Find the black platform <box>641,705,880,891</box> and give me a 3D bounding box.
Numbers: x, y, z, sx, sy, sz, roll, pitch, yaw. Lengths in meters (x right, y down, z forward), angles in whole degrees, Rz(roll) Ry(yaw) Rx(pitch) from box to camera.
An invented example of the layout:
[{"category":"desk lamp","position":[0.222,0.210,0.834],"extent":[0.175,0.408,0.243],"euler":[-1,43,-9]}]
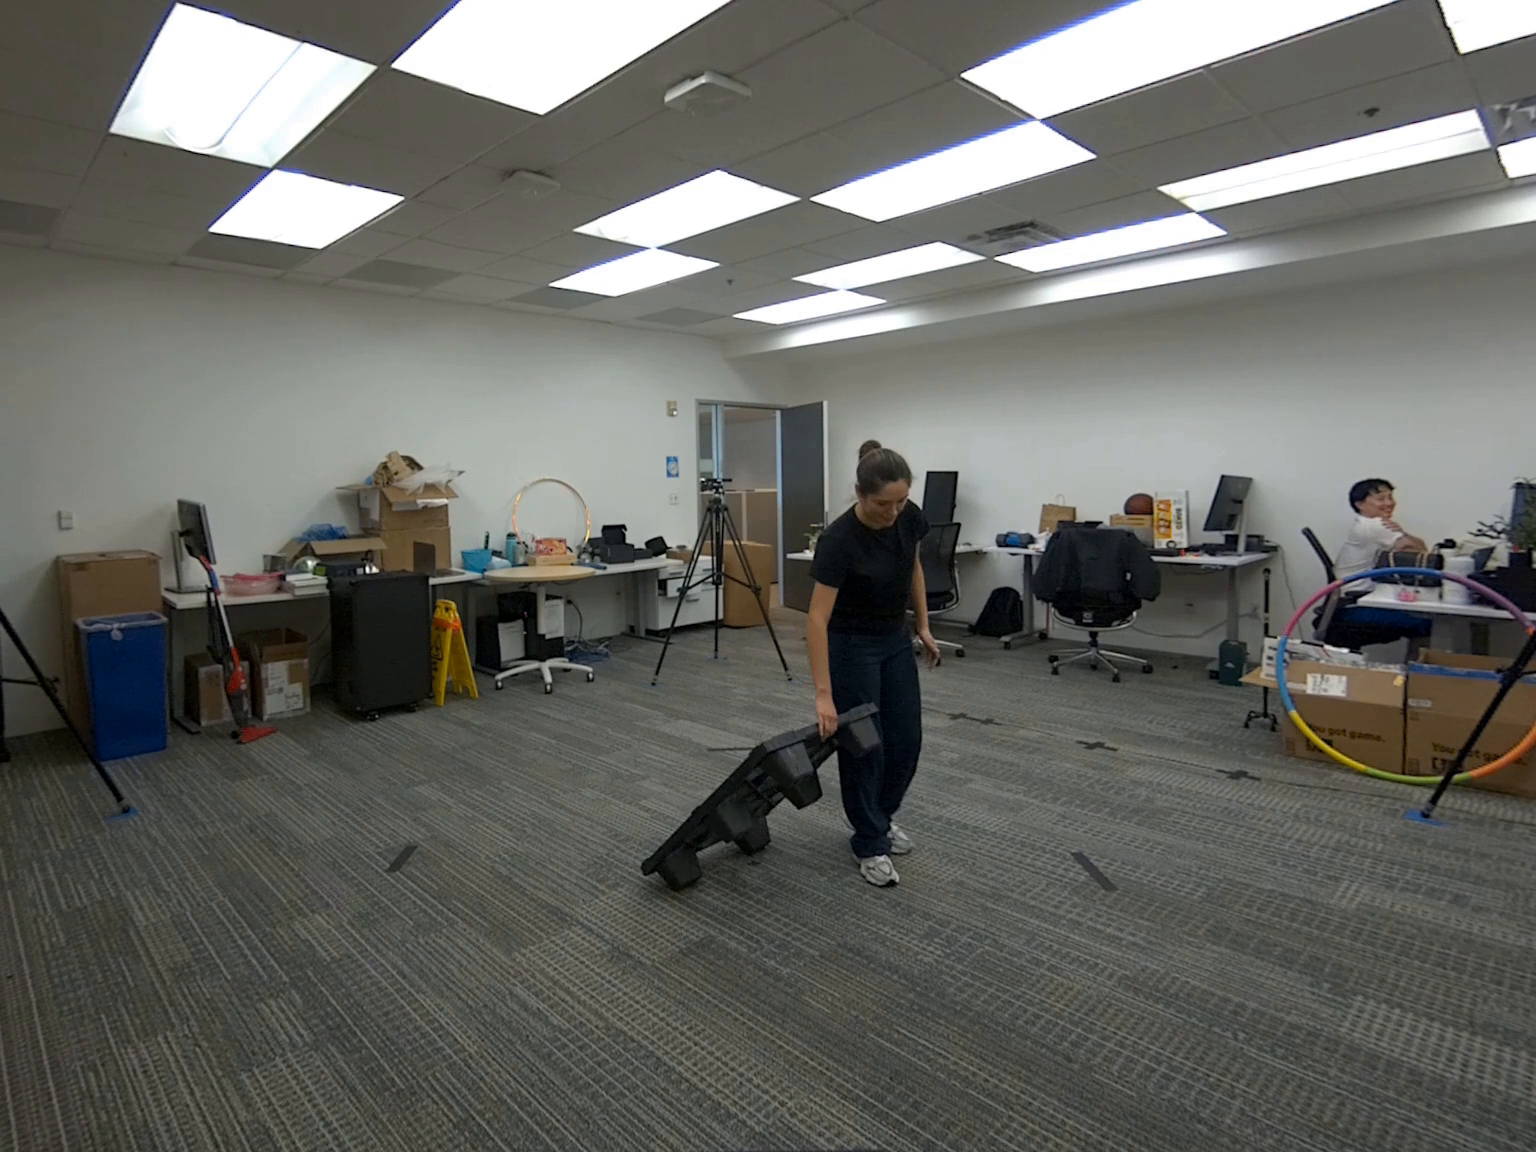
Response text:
[{"category":"black platform","position":[-0.001,0.766,2.913],"extent":[0.589,0.147,0.803],"euler":[-6,-37,-49]}]
